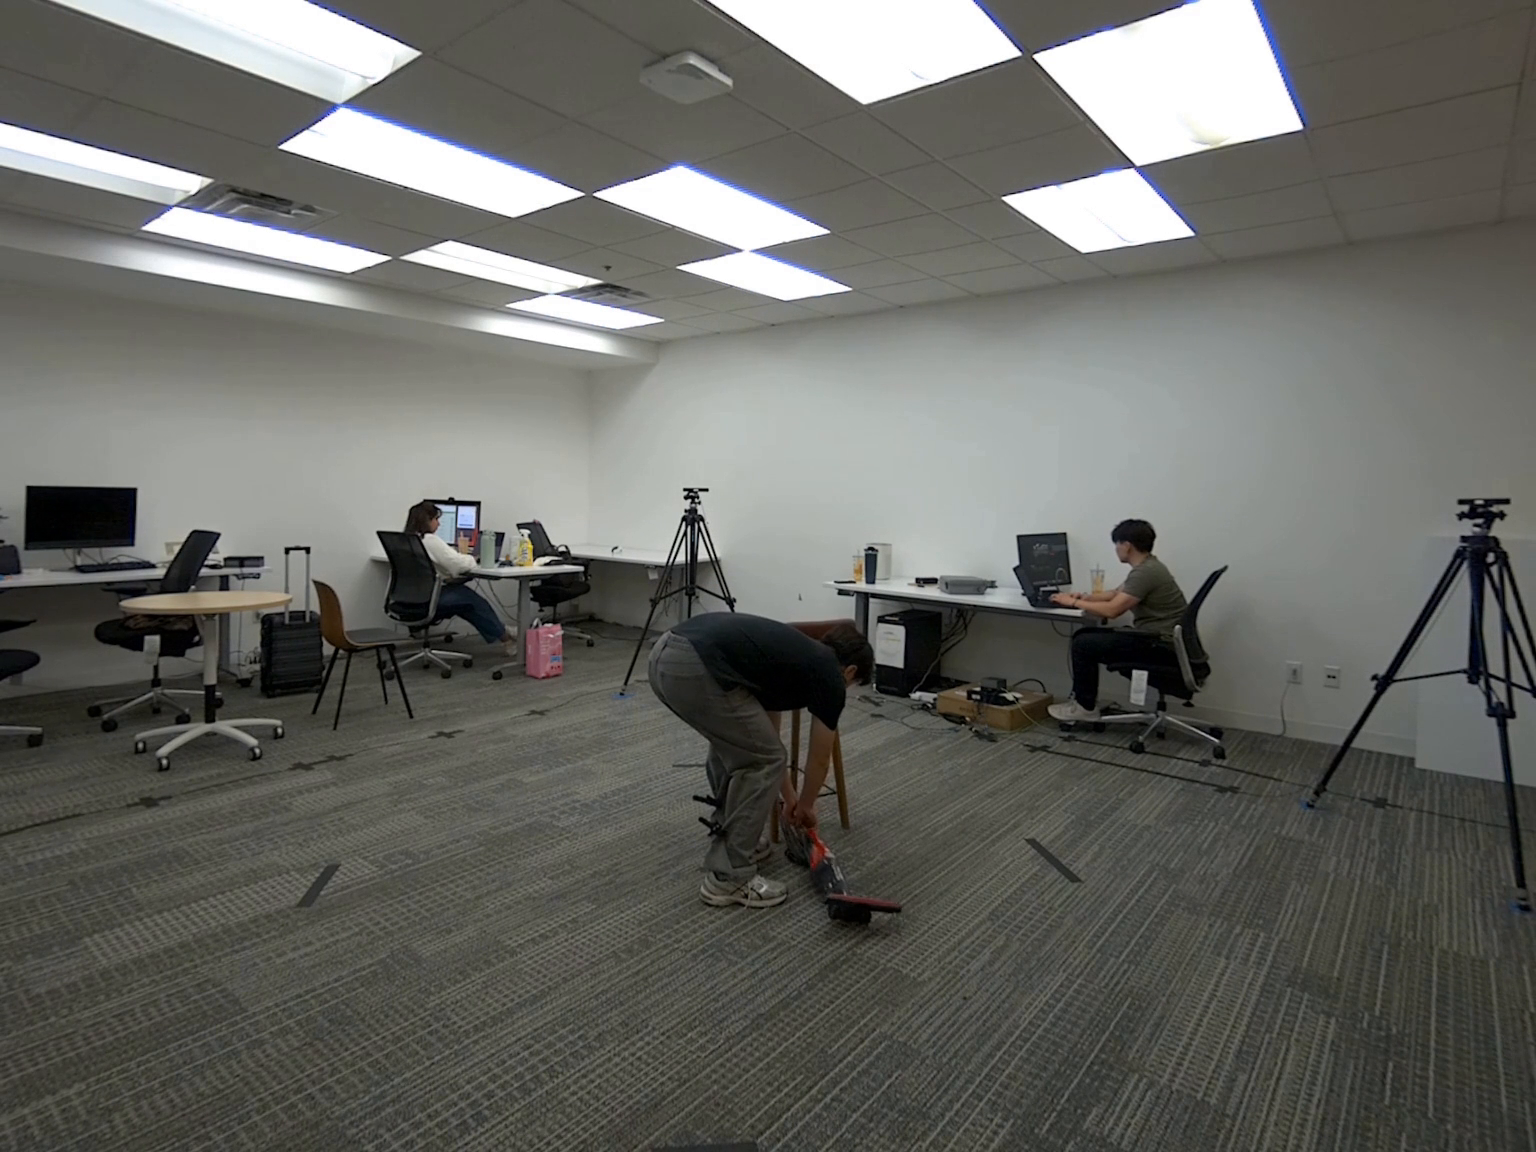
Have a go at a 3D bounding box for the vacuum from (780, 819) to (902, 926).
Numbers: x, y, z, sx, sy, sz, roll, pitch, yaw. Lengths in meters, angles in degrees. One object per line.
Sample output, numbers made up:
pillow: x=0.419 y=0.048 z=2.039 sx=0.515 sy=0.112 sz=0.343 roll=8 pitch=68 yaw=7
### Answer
vacuum: x=0.135 y=1.008 z=3.193 sx=0.248 sy=0.144 sz=1.070 roll=17 pitch=0 yaw=-17
